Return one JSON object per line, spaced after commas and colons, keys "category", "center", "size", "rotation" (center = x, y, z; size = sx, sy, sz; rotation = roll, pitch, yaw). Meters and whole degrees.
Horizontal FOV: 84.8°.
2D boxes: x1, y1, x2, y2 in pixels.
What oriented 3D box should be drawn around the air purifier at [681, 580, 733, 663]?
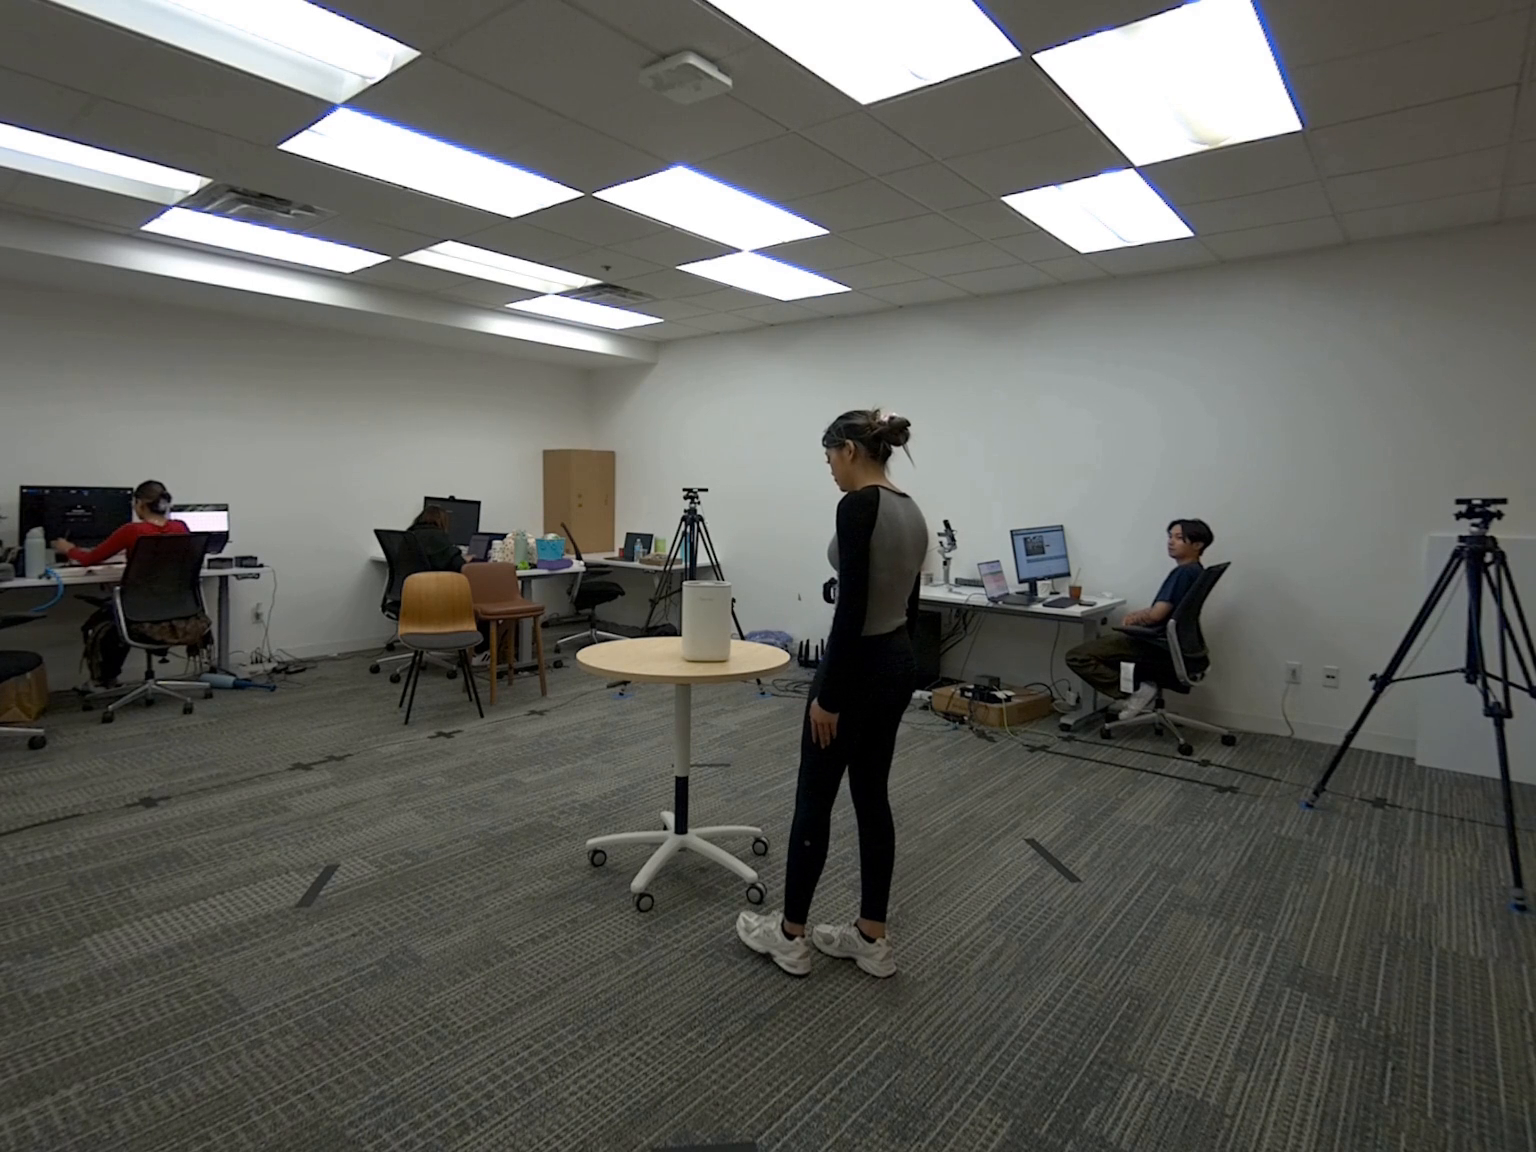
{"category": "air purifier", "center": [-0.226, 0.154, 2.978], "size": [0.170, 0.264, 0.173], "rotation": [0, 4, -4]}
